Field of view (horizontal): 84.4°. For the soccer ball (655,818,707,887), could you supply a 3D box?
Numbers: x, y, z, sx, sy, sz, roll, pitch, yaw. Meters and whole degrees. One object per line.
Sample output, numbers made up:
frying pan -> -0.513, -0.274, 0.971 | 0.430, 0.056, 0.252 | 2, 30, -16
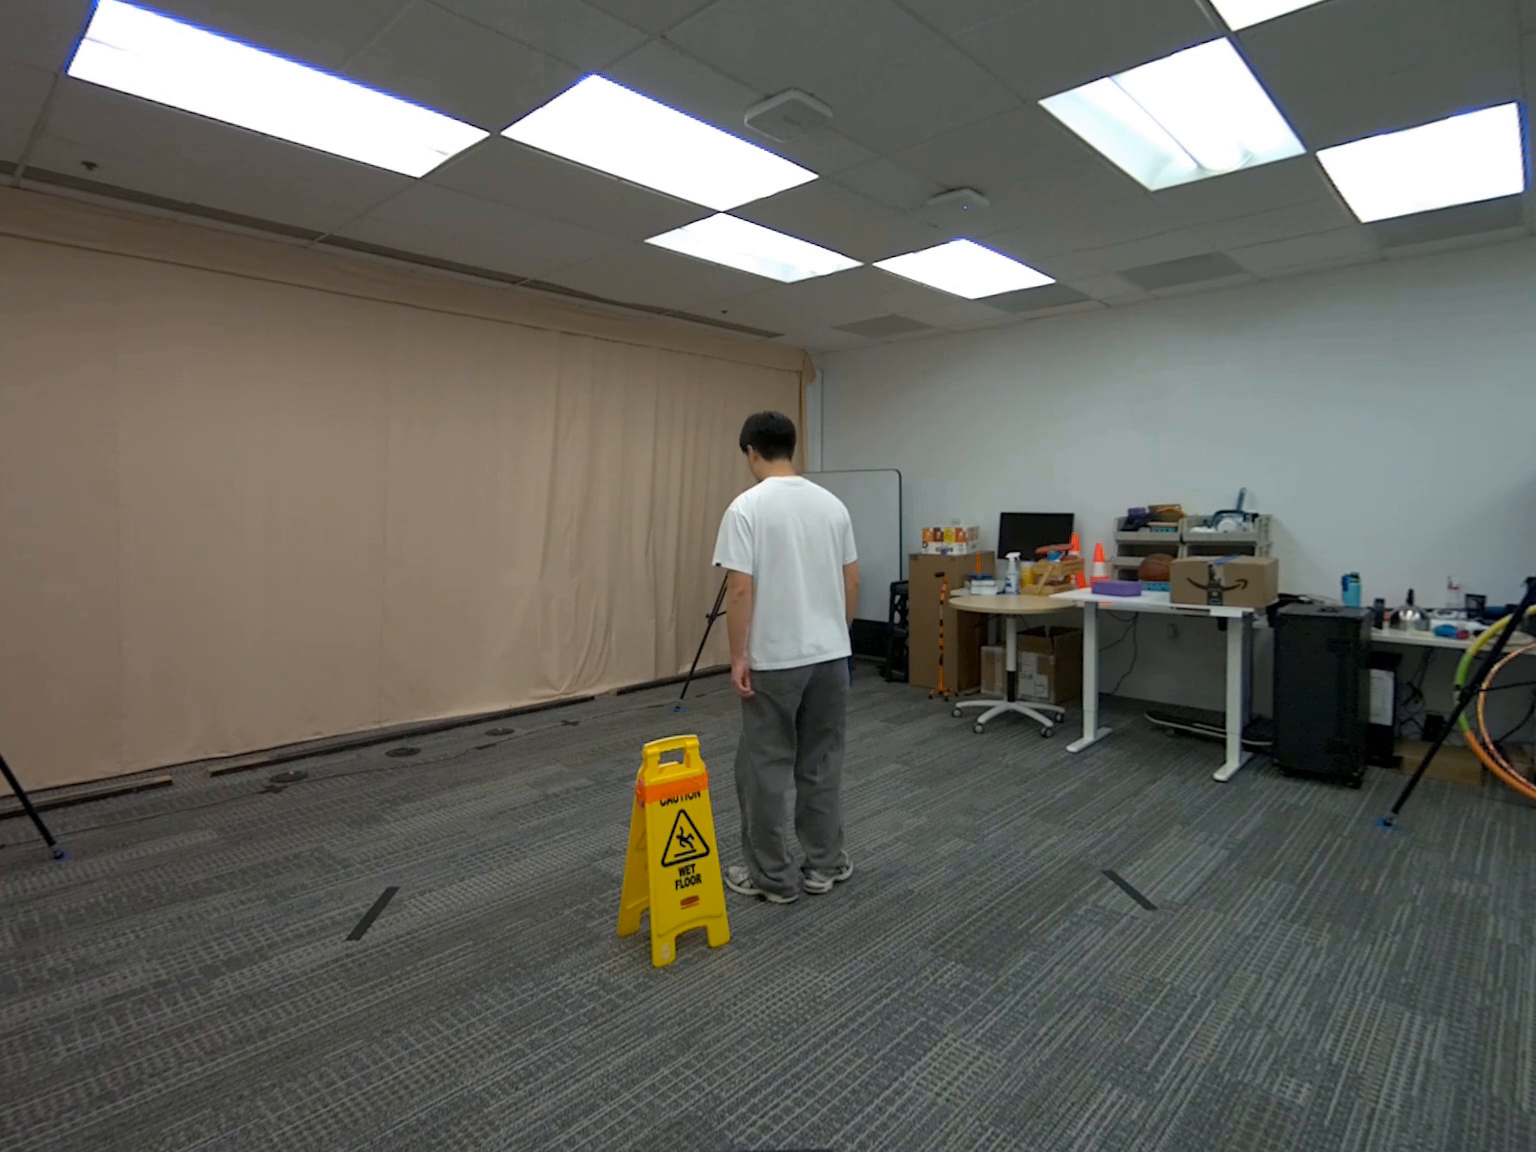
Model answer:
soccer ball -> -0.329, 1.044, 3.214 | 0.187, 0.187, 0.188 | 0, 4, -2
